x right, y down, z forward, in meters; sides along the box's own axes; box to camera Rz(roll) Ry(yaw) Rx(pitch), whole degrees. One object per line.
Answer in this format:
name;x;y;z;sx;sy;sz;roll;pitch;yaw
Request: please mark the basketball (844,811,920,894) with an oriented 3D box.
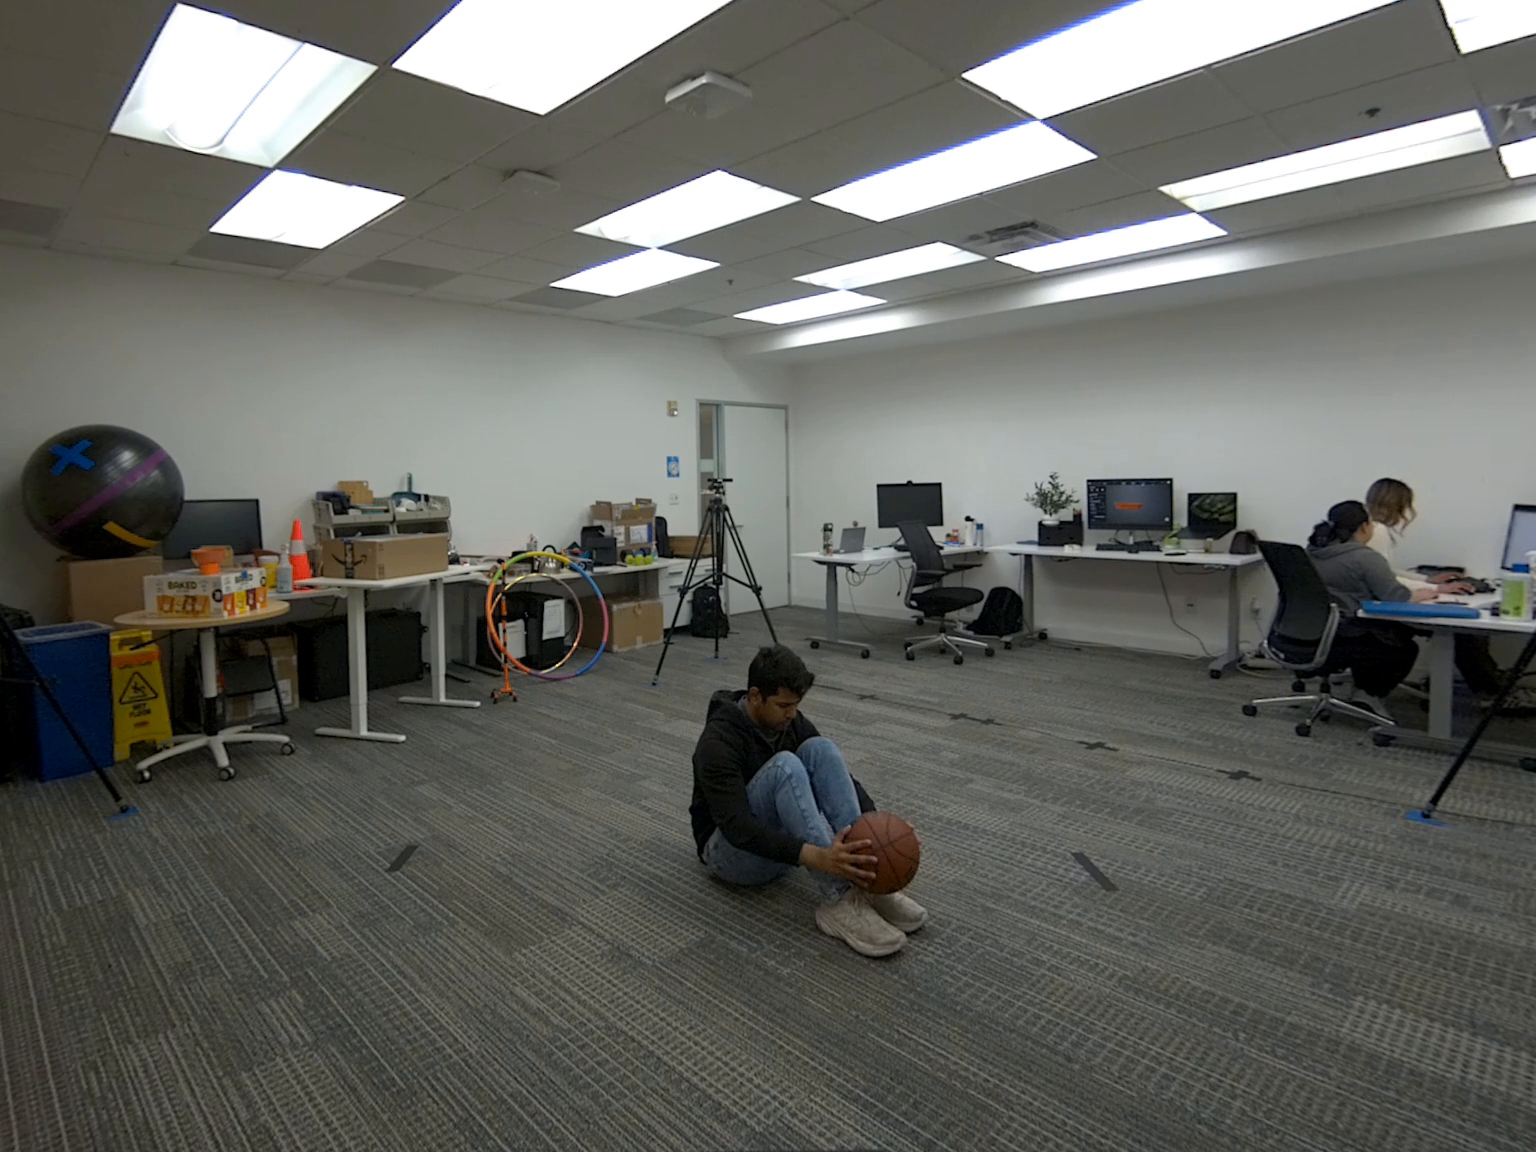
basketball;0.335;0.831;2.607;0.236;0.235;0.237;-1;5;-2
